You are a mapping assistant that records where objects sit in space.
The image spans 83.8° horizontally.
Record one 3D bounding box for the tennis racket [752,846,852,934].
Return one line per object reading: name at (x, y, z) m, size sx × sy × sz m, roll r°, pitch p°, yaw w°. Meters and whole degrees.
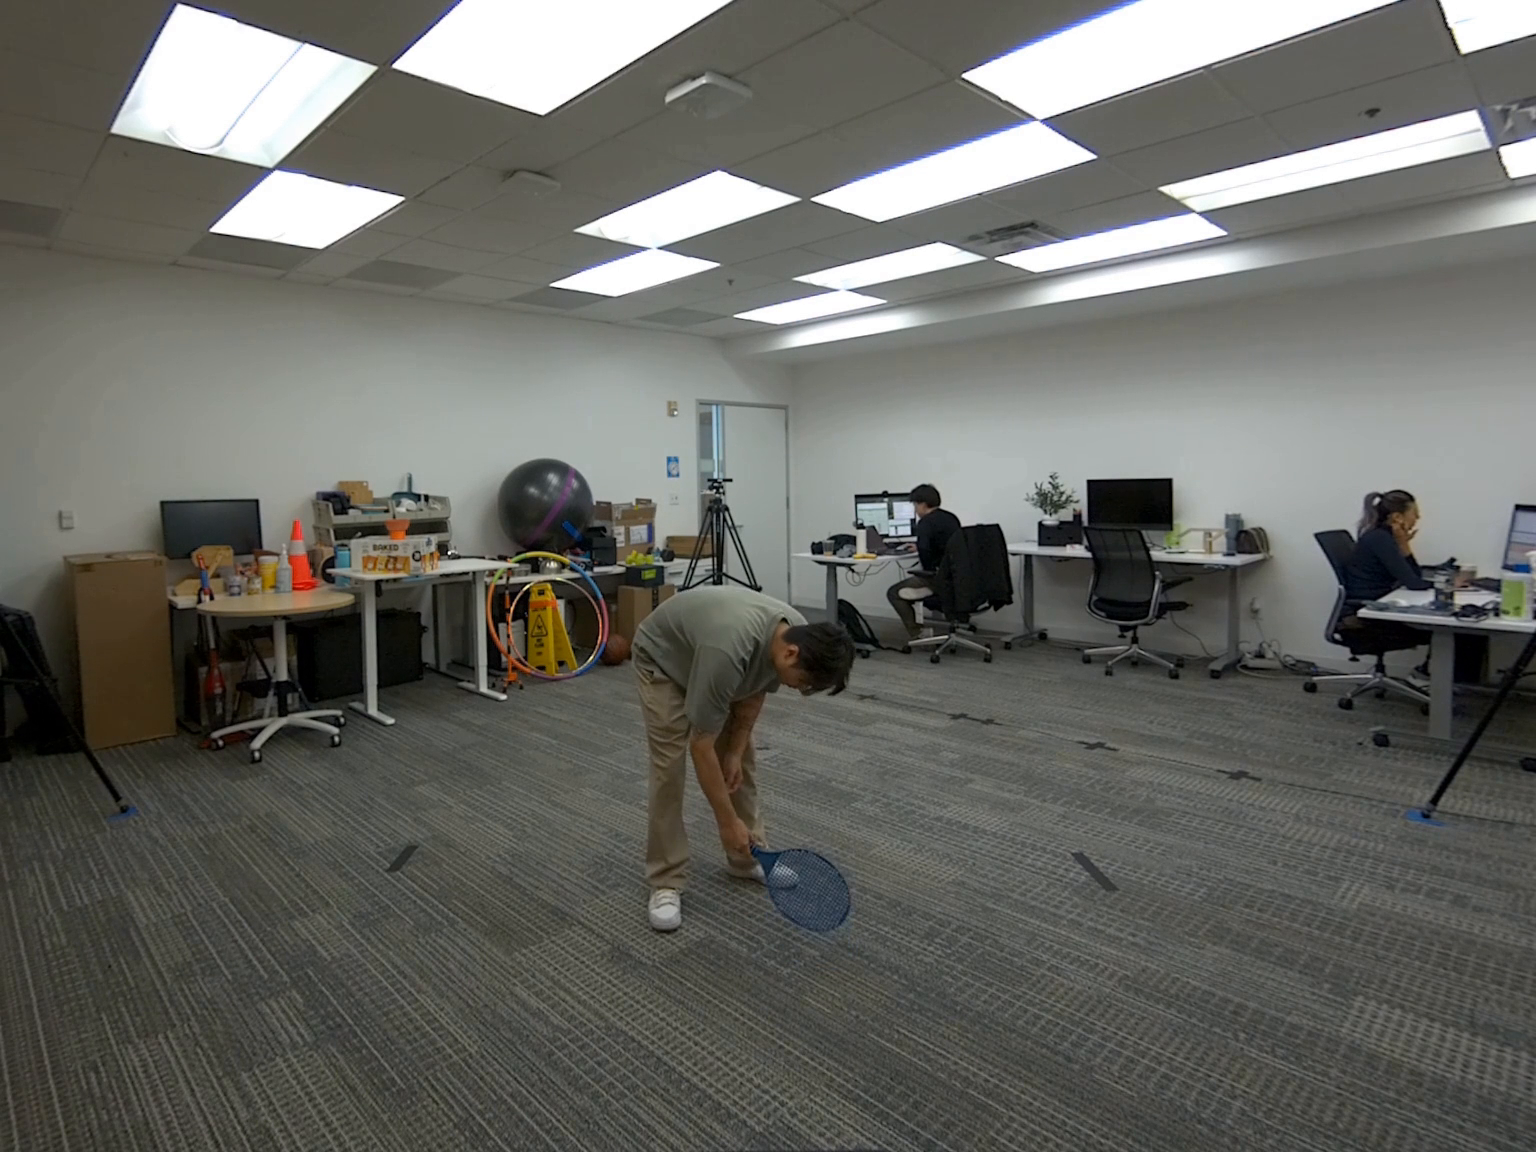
tennis racket at (0.046, 0.906, 2.572) m, size 0.443 × 0.214 × 0.031 m, roll 23°, pitch -1°, yaw 18°
